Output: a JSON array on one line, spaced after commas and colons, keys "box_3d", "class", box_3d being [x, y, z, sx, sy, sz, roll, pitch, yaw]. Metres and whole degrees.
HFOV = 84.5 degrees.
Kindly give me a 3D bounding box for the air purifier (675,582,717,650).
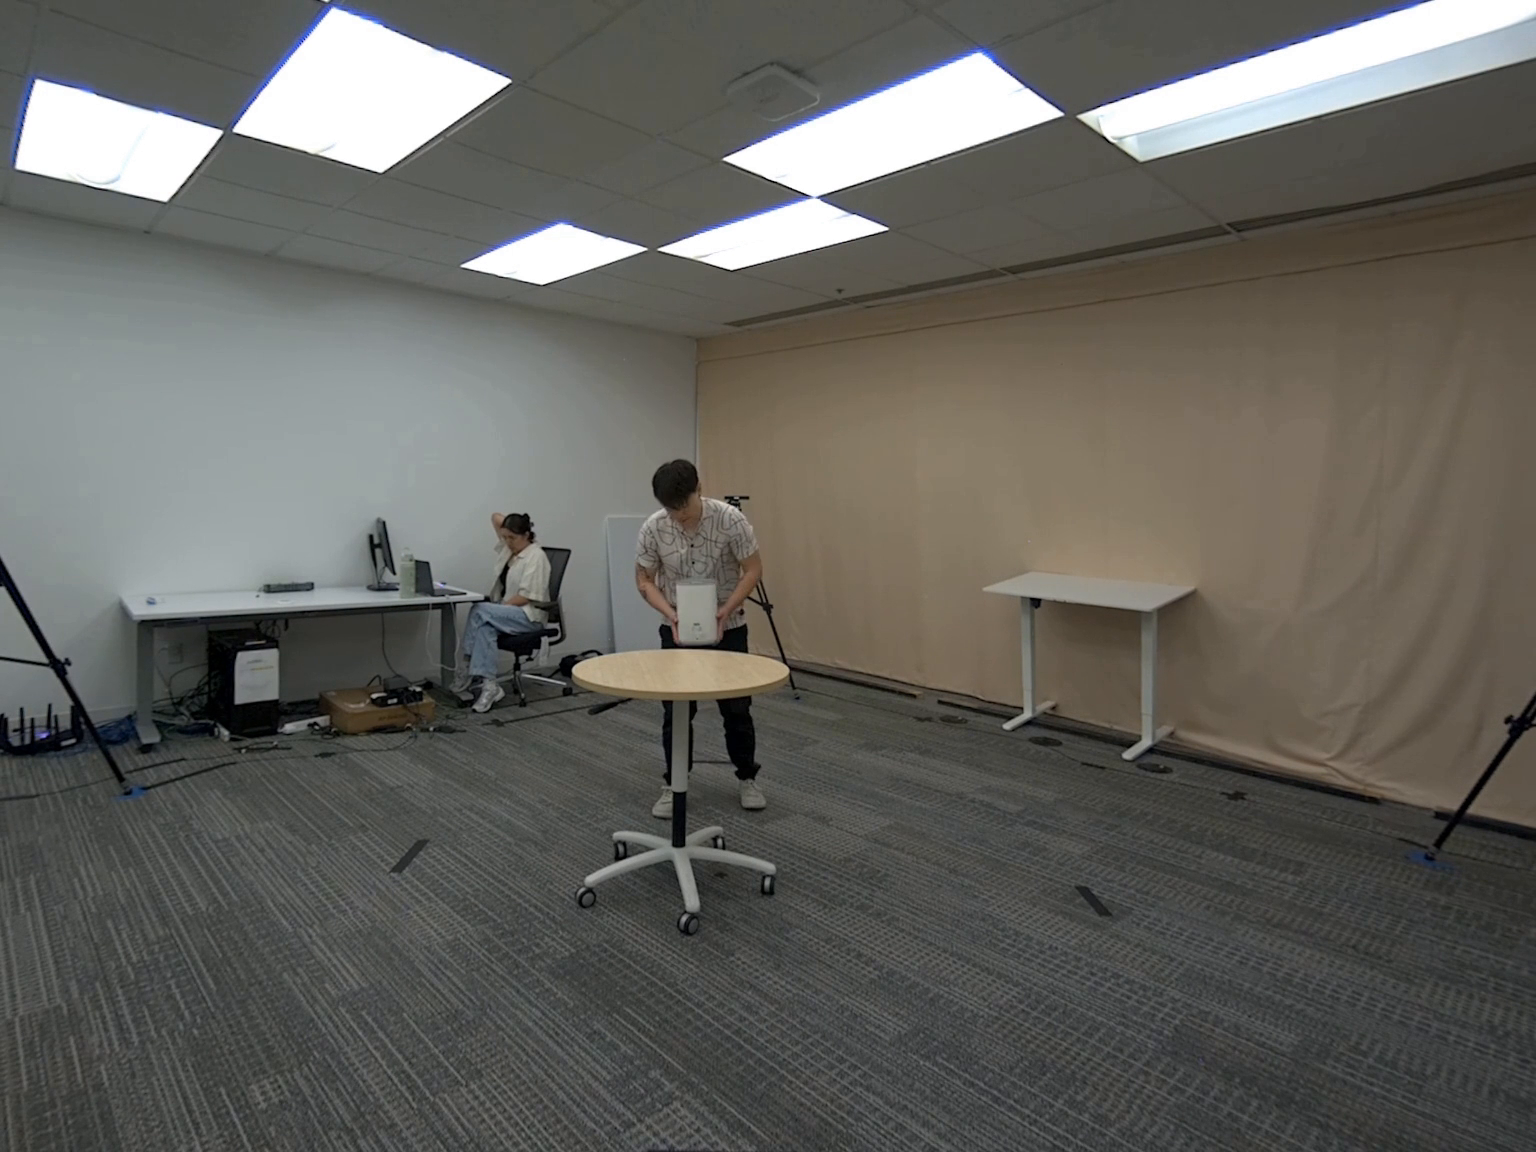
[{"box_3d": [-0.313, 0.157, 3.590, 0.170, 0.264, 0.173, -1, 6, -6], "class": "air purifier"}]
